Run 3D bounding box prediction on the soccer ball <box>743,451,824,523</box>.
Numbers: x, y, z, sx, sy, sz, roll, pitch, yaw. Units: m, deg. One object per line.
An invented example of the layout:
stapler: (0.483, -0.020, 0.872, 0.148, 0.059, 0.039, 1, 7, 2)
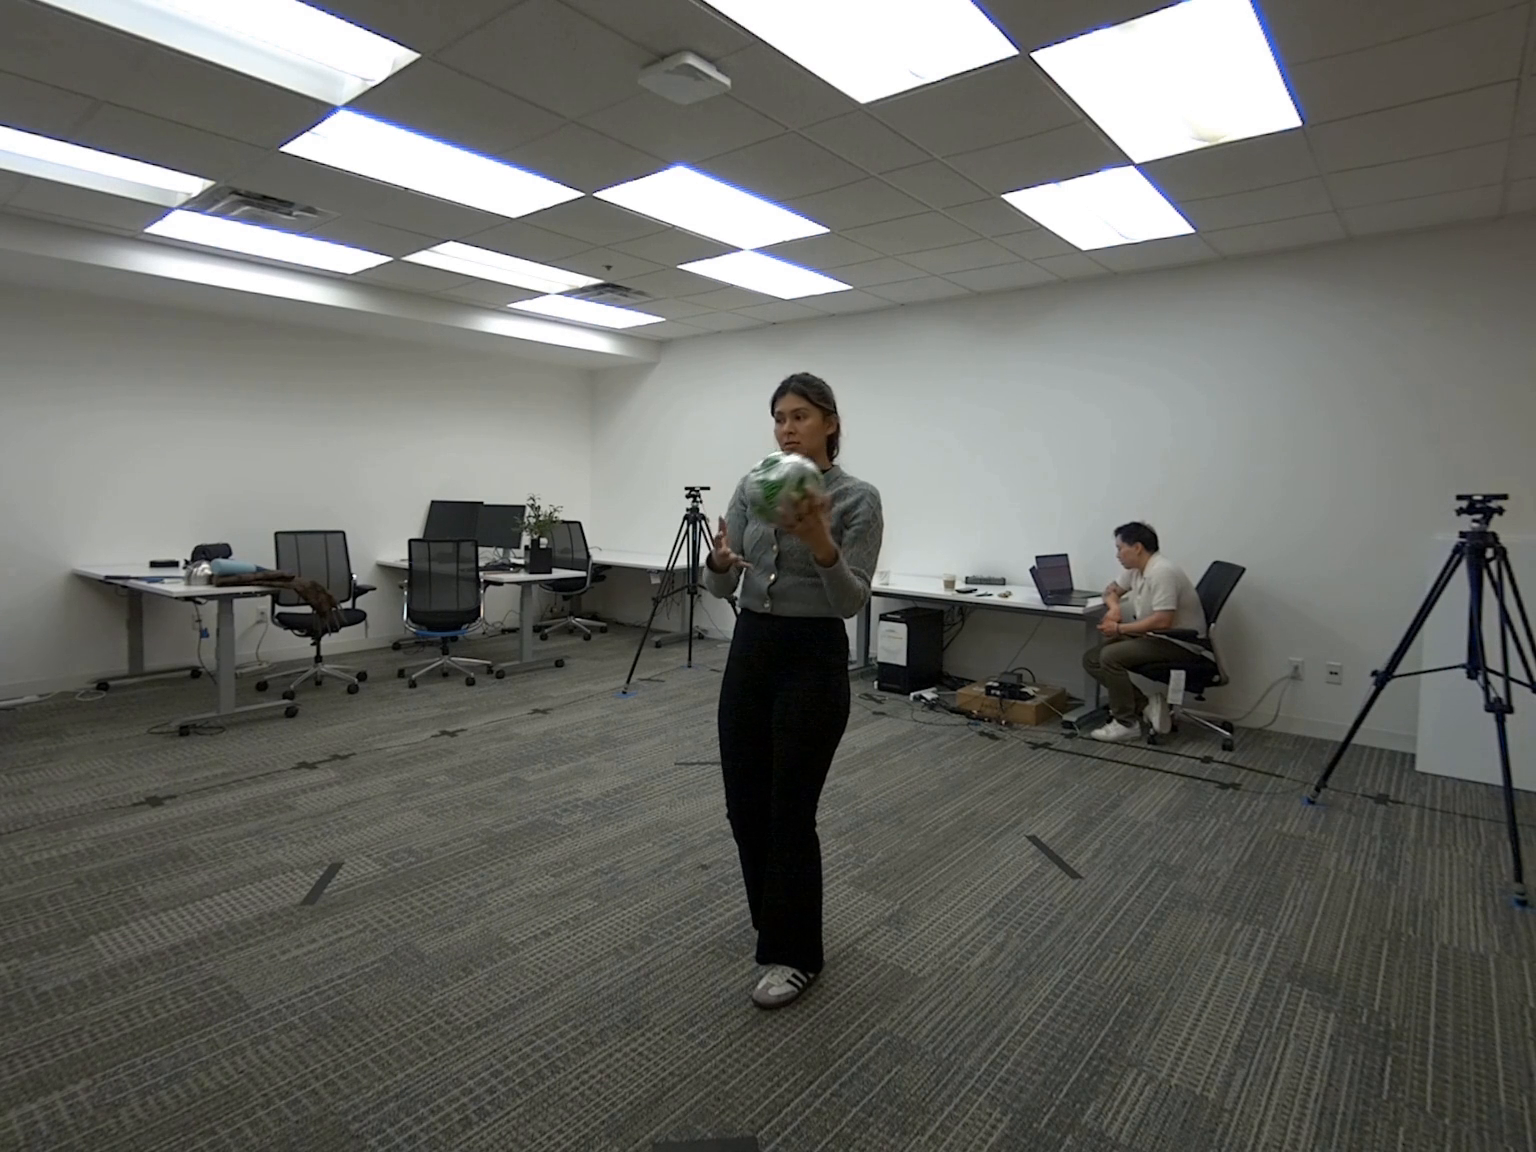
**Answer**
soccer ball: (0.046, -0.195, 2.040, 0.187, 0.187, 0.188, 0, 4, -2)
